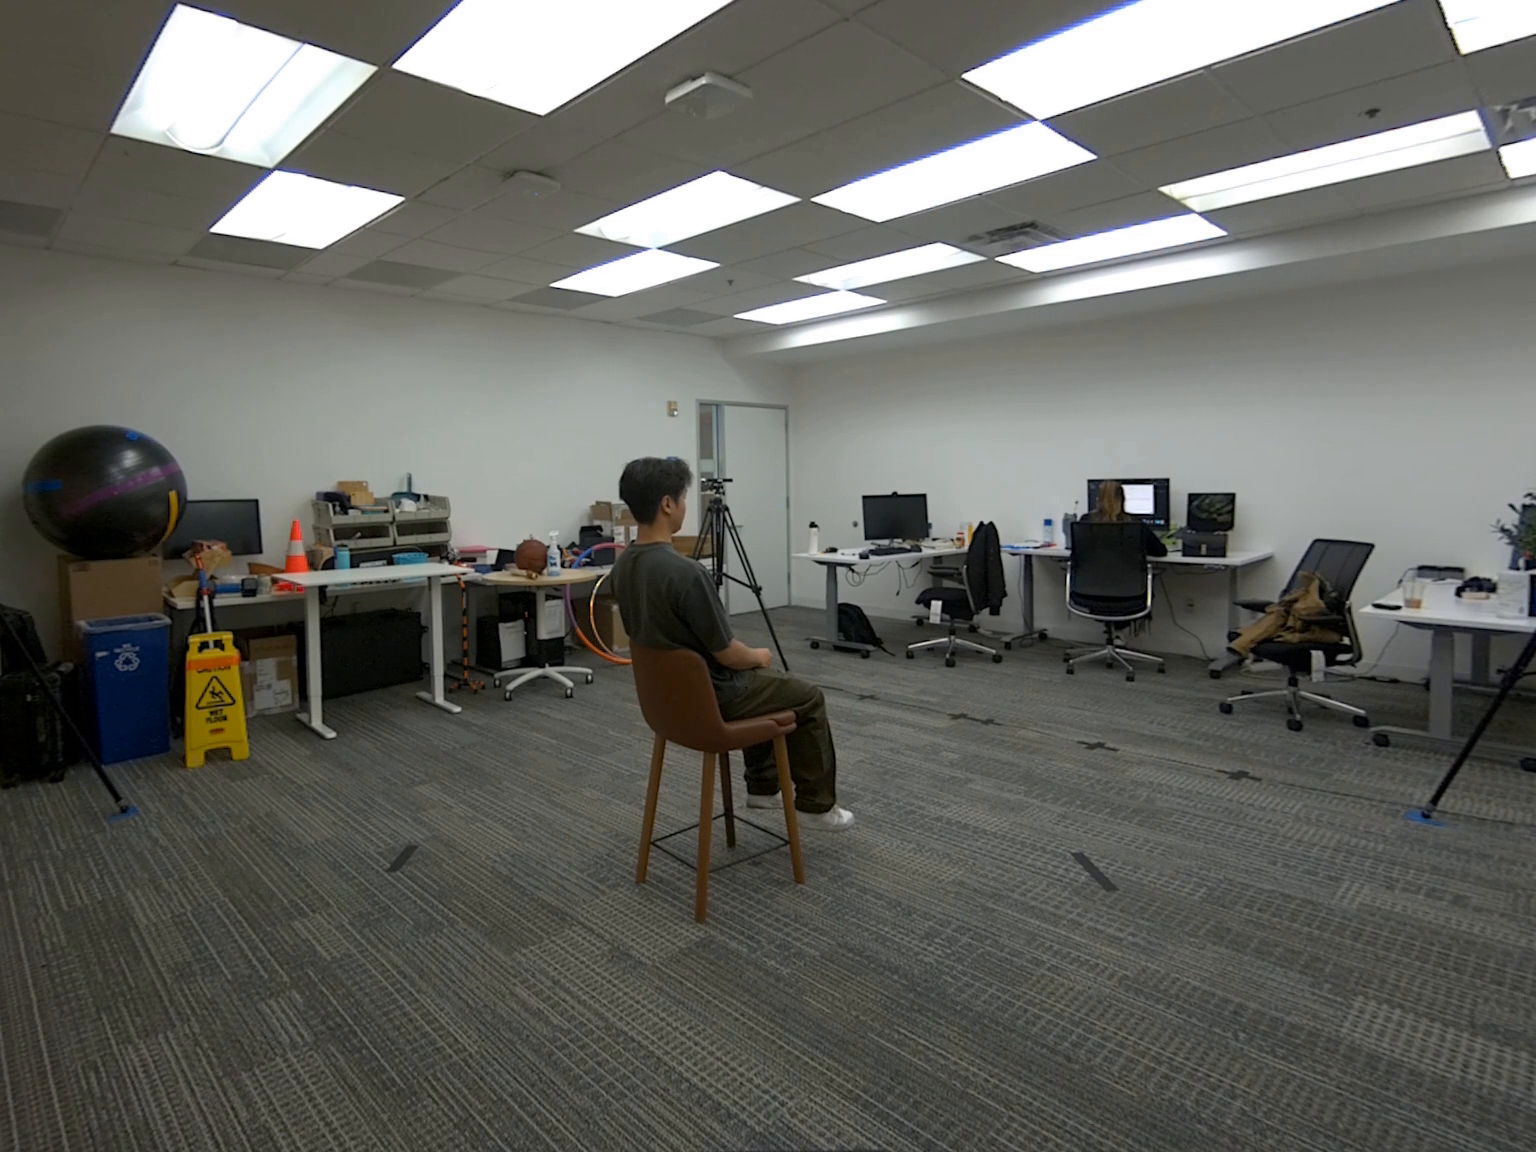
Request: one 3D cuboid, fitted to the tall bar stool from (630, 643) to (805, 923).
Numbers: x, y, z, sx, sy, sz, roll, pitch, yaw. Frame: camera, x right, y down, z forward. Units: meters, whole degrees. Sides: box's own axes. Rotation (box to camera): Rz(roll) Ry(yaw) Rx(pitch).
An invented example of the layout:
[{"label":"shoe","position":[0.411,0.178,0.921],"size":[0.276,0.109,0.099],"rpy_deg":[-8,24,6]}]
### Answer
[{"label":"tall bar stool","position":[-0.188,0.633,2.933],"size":[0.456,0.885,0.470],"rpy_deg":[-7,8,-40]}]
